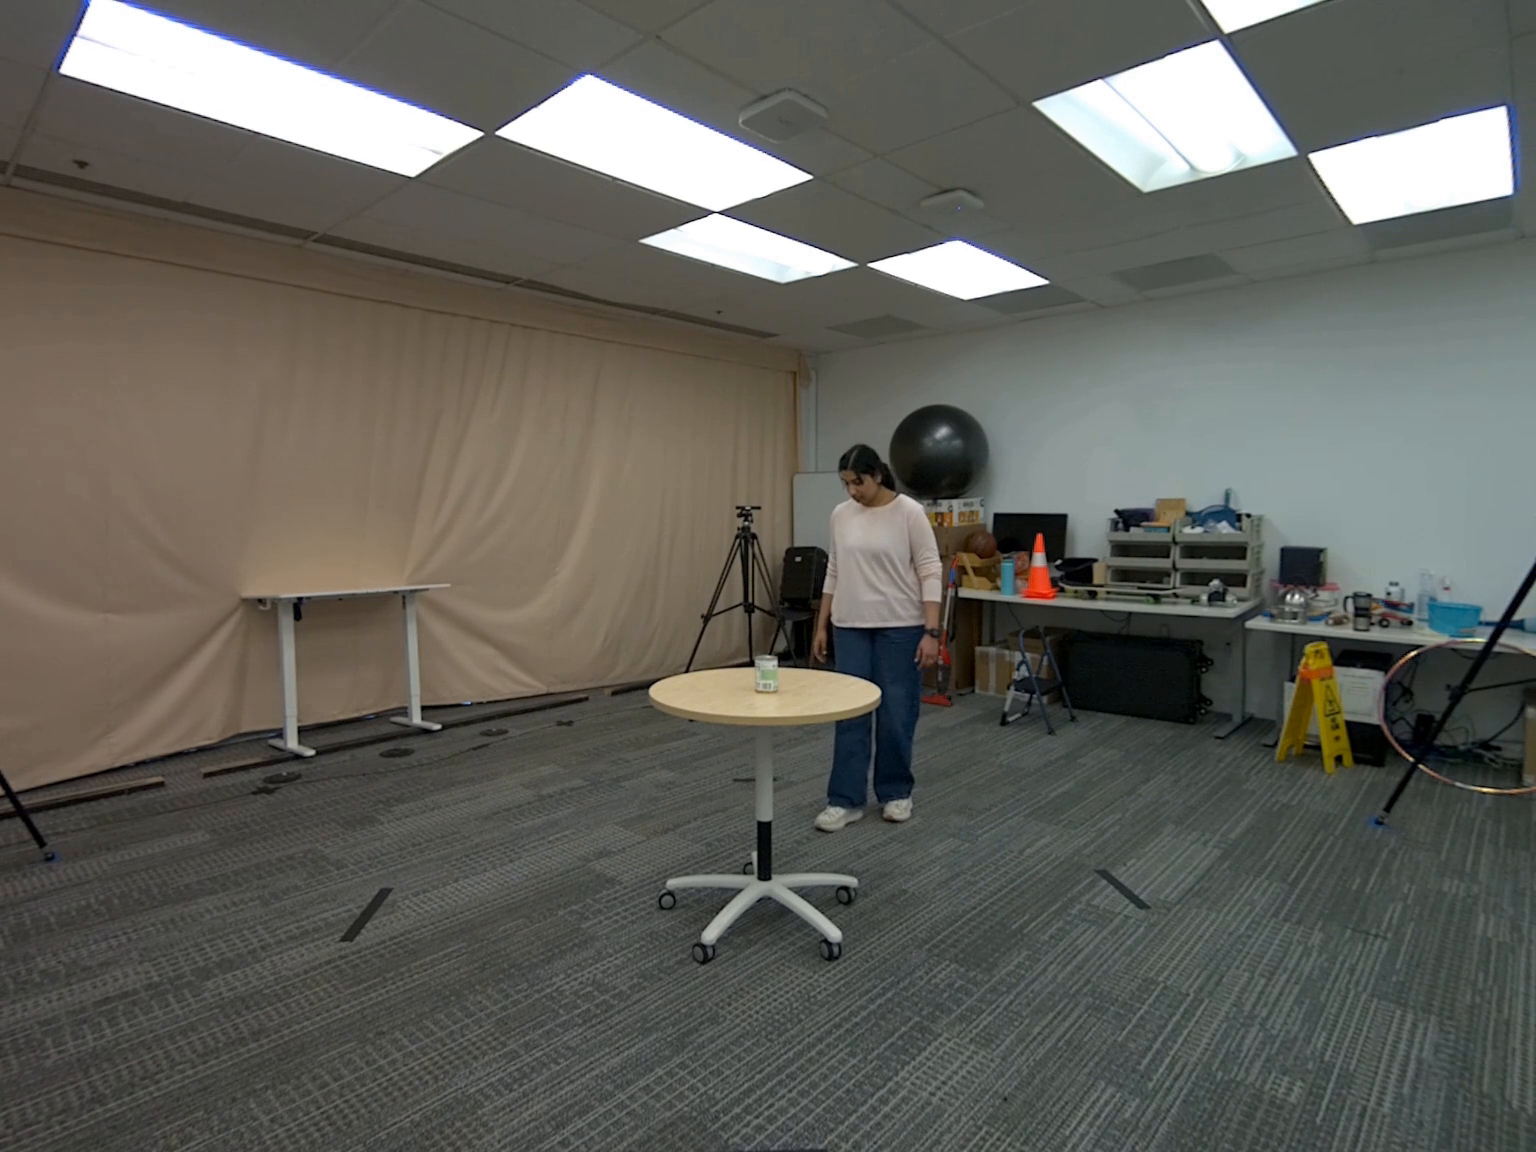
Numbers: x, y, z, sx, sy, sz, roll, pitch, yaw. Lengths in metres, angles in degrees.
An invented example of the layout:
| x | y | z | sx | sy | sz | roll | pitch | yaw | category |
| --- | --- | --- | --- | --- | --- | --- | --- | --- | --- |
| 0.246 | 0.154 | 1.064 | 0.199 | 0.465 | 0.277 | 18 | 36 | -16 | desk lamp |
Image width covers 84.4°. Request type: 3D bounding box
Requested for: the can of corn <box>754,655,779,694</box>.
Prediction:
| x | y | z | sx | sy | sz | roll | pitch | yaw | category |
| --- | --- | --- | --- | --- | --- | --- | --- | --- | --- |
| 0.002 | 0.322 | 2.758 | 0.074 | 0.111 | 0.074 | -1 | 3 | -2 | can of corn |
